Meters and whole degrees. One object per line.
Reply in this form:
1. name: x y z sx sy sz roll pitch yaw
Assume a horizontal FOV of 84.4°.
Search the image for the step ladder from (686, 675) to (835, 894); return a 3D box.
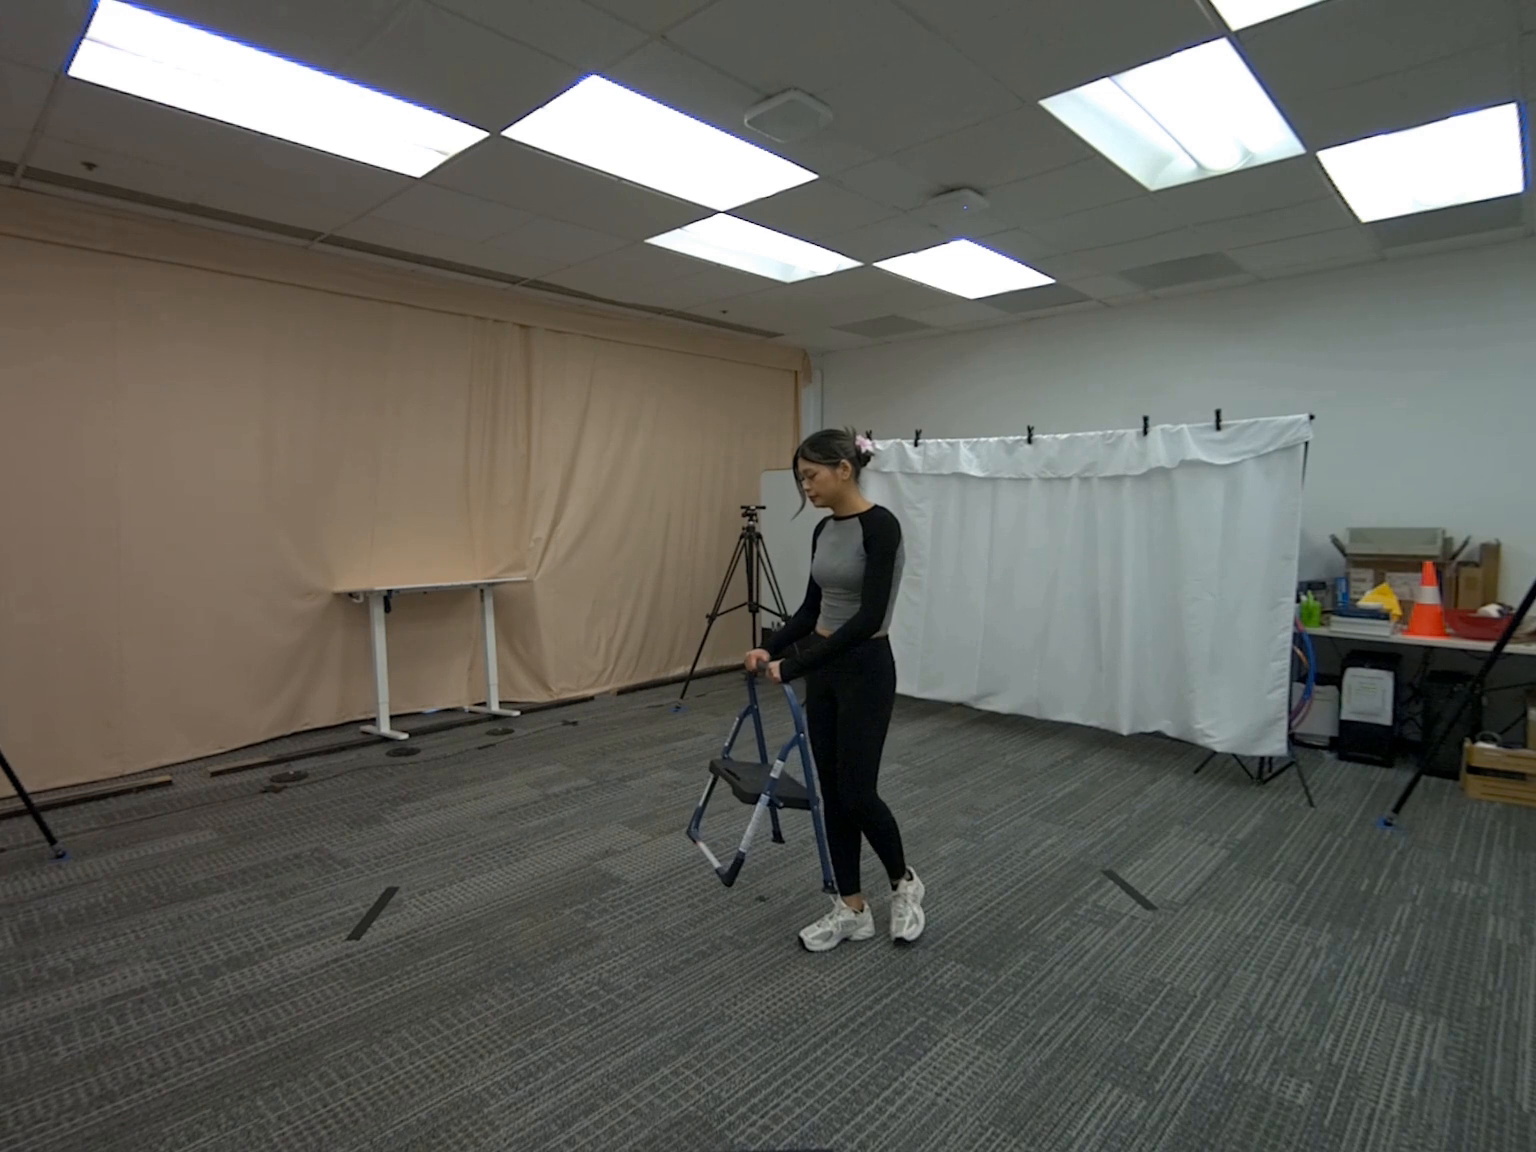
1. step ladder: 0.019 0.583 2.578 0.341 0.606 0.440 10 -1 -21
